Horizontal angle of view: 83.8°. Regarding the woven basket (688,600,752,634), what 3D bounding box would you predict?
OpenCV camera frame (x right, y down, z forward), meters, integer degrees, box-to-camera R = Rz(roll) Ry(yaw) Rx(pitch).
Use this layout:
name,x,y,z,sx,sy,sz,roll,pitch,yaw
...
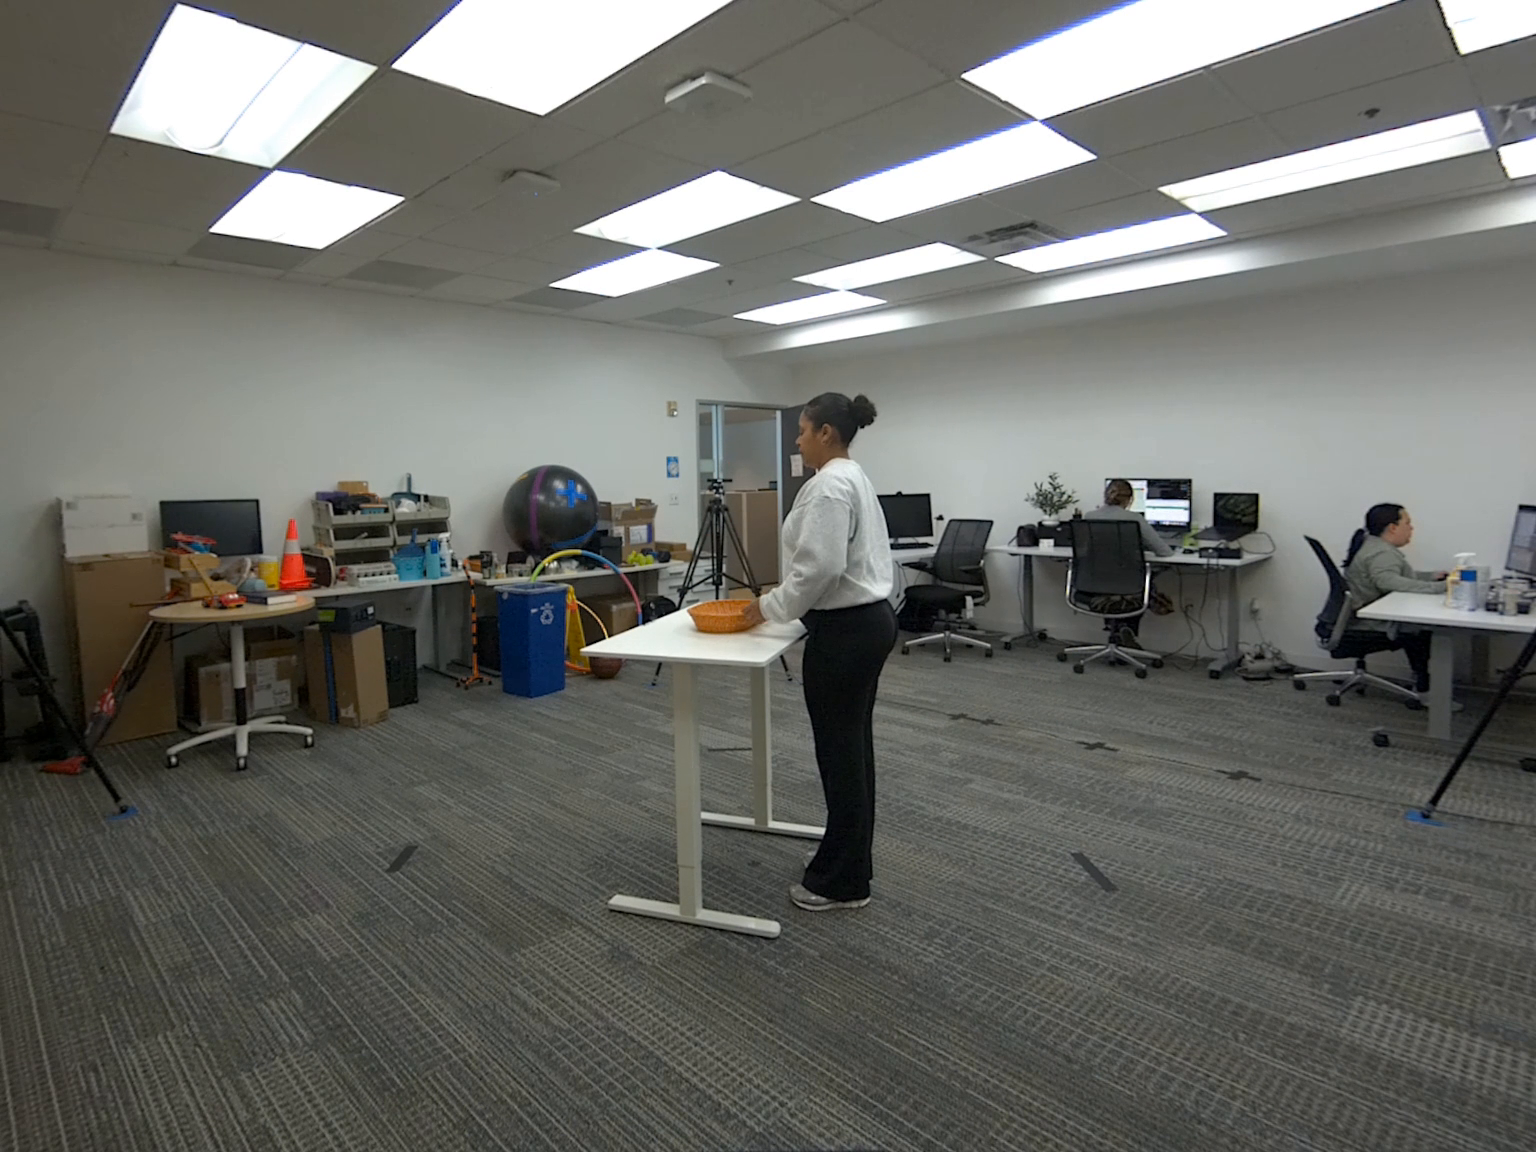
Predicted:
name,x,y,z,sx,sy,sz,roll,pitch,yaw
woven basket,-0.123,0.145,2.989,0.258,0.073,0.345,2,8,21
